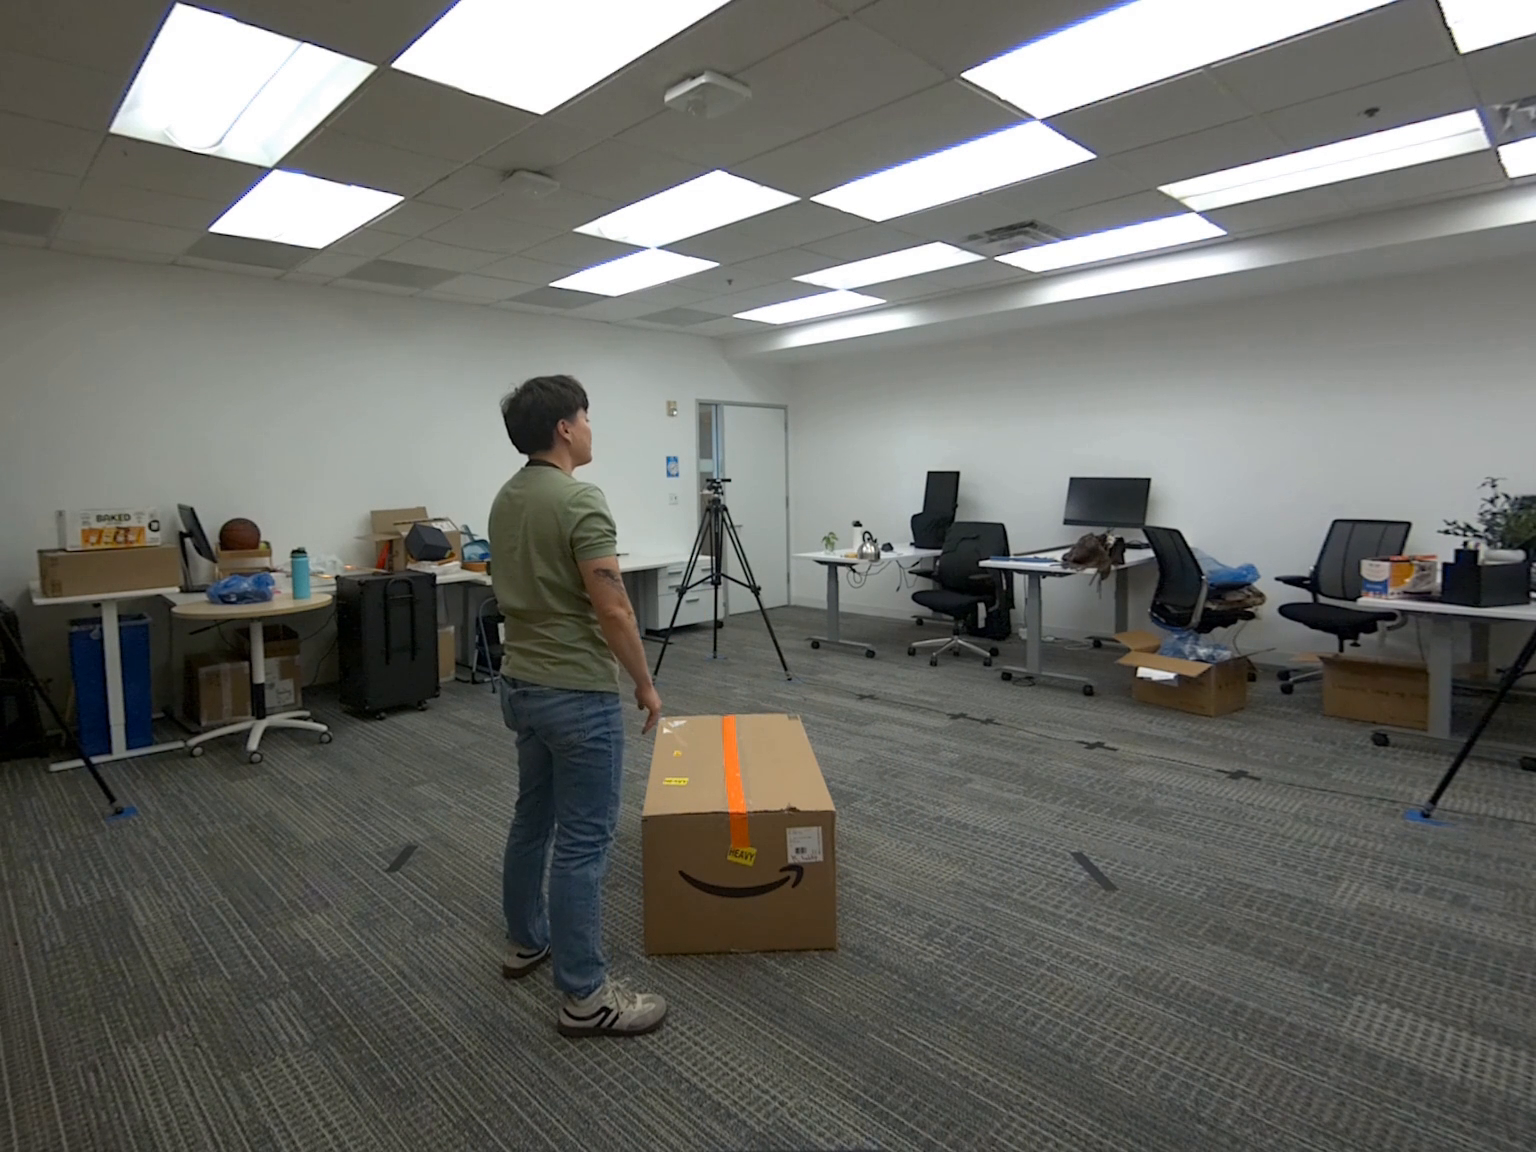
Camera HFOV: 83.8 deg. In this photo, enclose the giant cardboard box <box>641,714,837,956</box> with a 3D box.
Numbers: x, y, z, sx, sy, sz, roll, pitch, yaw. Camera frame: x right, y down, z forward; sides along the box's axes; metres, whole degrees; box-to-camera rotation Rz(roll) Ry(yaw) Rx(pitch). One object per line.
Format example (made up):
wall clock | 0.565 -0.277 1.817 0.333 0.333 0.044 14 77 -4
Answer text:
giant cardboard box | -0.116 0.840 3.018 0.576 0.424 1.033 -2 6 -3
